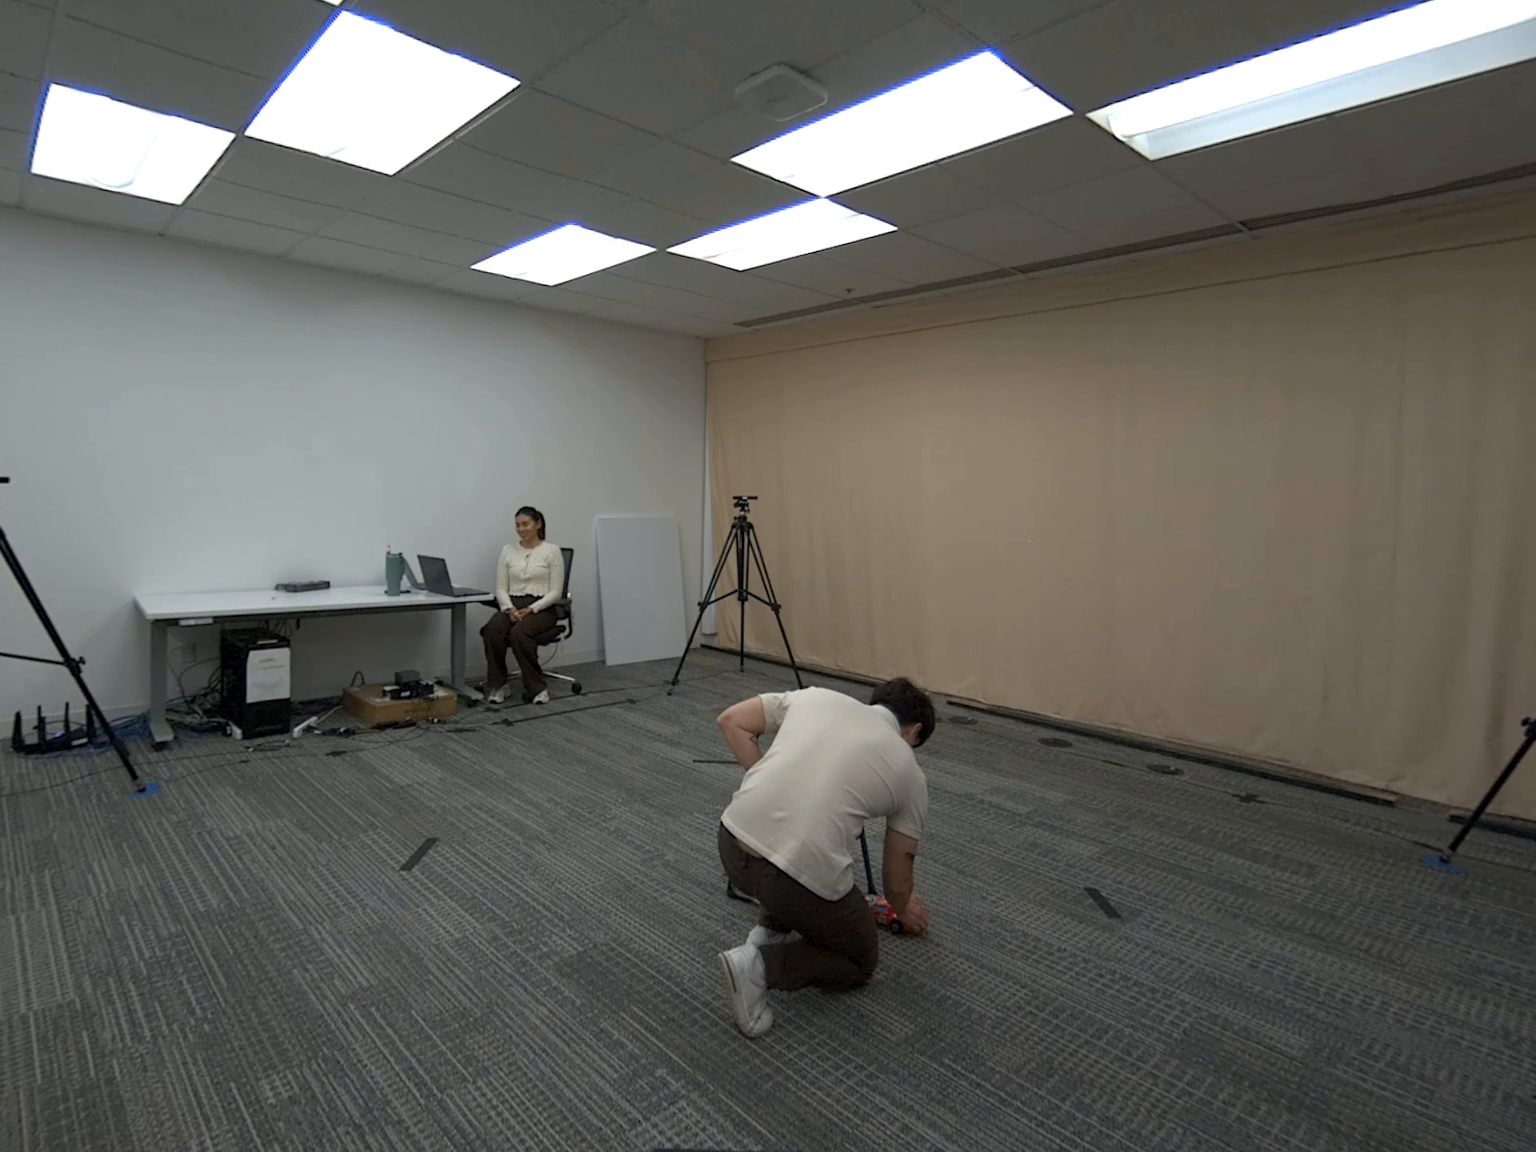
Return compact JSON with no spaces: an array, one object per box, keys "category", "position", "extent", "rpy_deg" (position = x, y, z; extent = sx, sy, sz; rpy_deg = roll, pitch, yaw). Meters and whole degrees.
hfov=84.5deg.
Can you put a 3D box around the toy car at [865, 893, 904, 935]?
[{"category":"toy car","position":[0.382,1.115,2.786],"extent":[0.259,0.083,0.127],"rpy_deg":[-9,-4,36]}]
